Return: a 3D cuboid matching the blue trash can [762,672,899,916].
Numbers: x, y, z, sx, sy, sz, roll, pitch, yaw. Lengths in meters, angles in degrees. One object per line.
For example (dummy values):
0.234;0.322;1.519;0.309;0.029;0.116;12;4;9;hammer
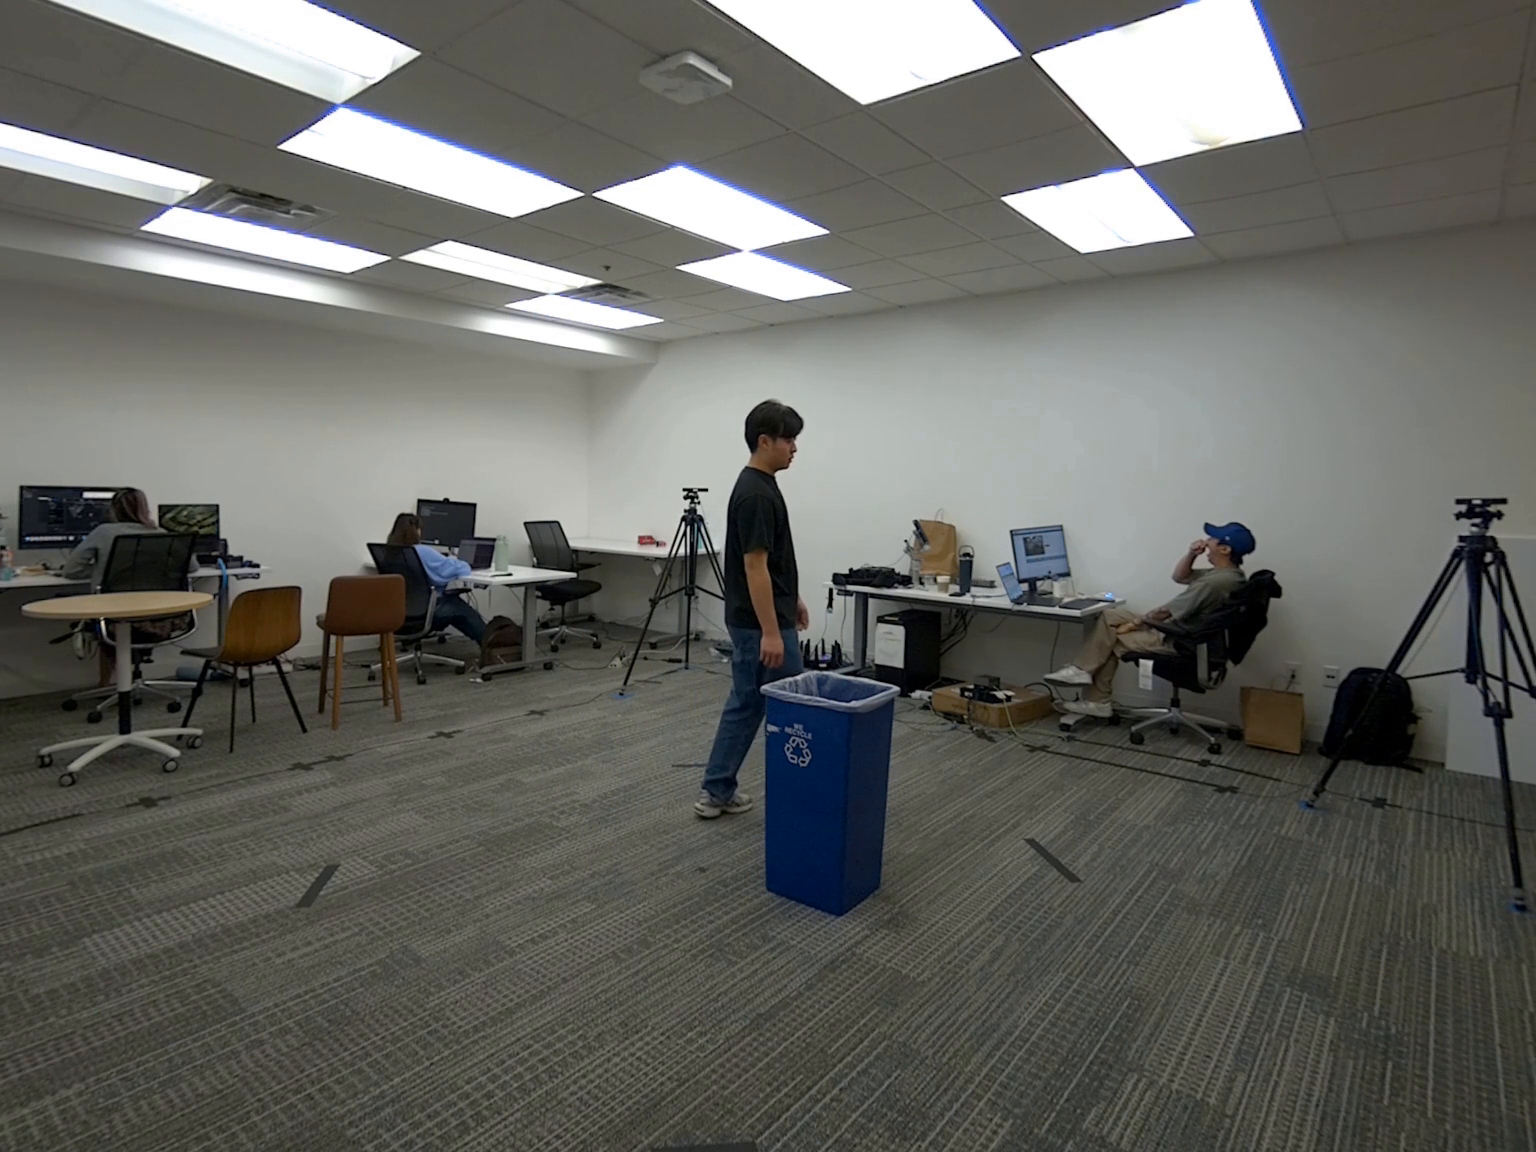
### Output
0.207;0.732;2.969;0.386;0.711;0.367;4;5;35;blue trash can
